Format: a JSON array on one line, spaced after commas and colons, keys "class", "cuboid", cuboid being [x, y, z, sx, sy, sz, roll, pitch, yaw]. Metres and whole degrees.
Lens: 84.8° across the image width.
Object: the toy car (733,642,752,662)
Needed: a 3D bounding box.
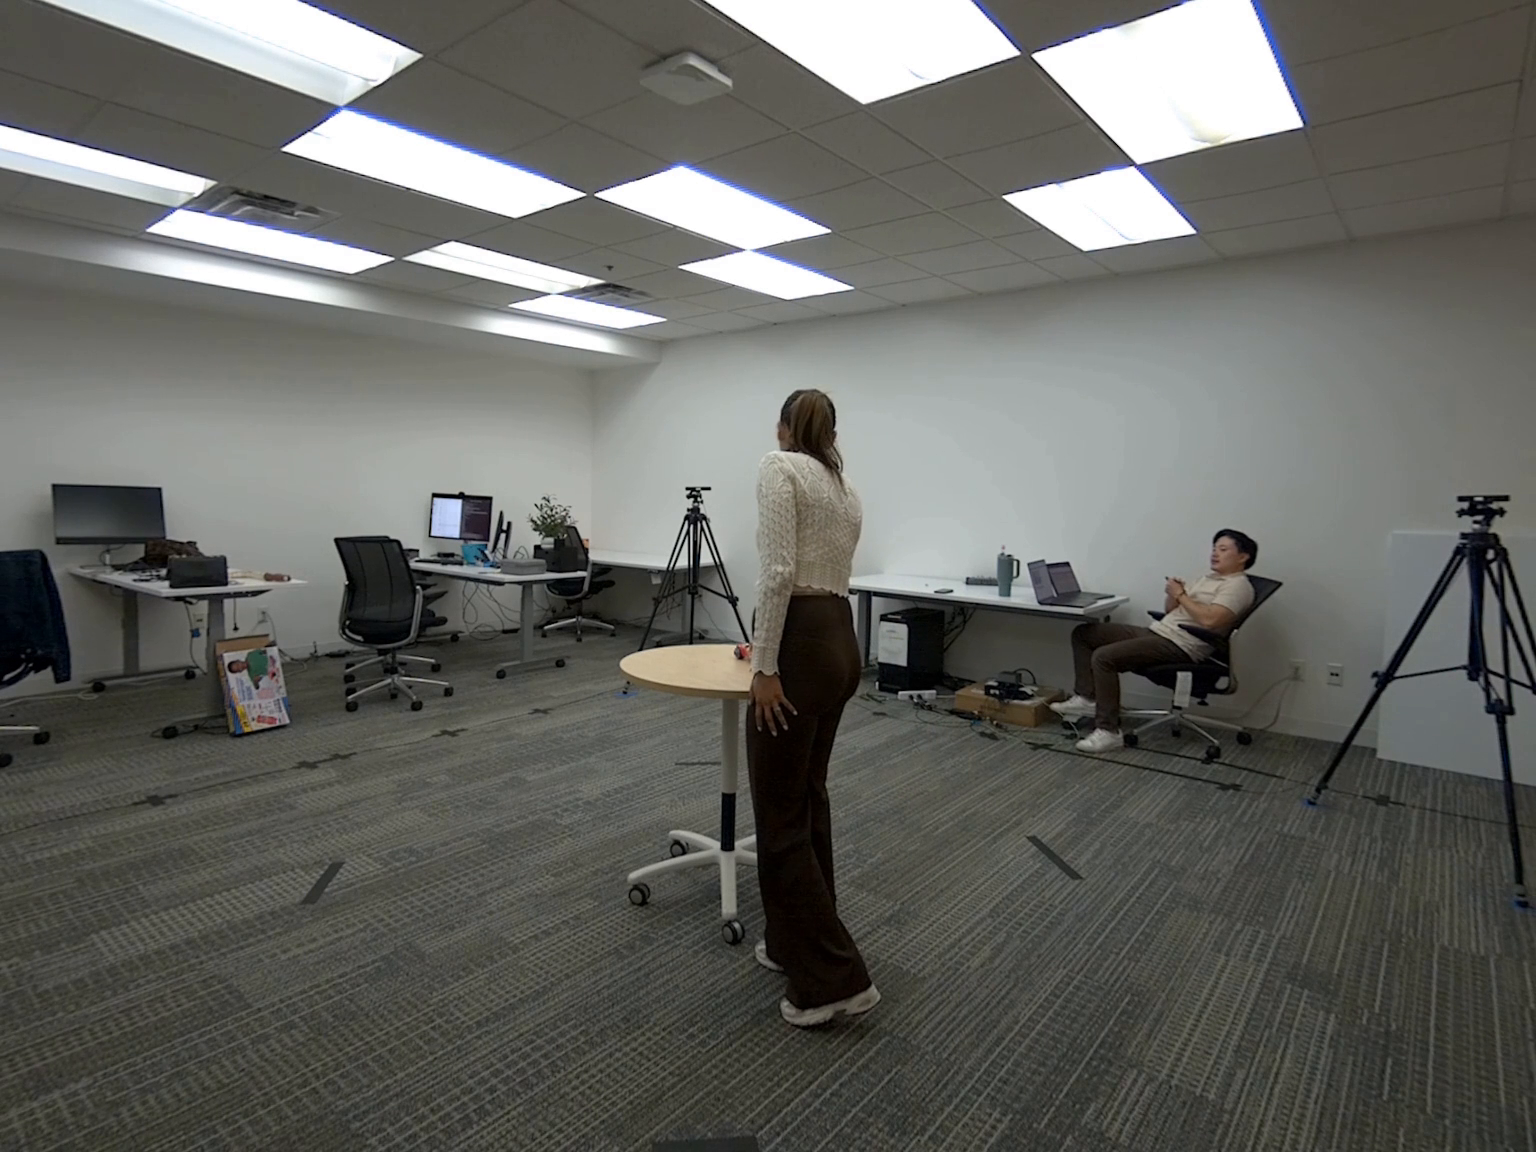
[{"class": "toy car", "cuboid": [-0.029, 0.267, 2.953, 0.127, 0.084, 0.259, 0, -6, -25]}]
